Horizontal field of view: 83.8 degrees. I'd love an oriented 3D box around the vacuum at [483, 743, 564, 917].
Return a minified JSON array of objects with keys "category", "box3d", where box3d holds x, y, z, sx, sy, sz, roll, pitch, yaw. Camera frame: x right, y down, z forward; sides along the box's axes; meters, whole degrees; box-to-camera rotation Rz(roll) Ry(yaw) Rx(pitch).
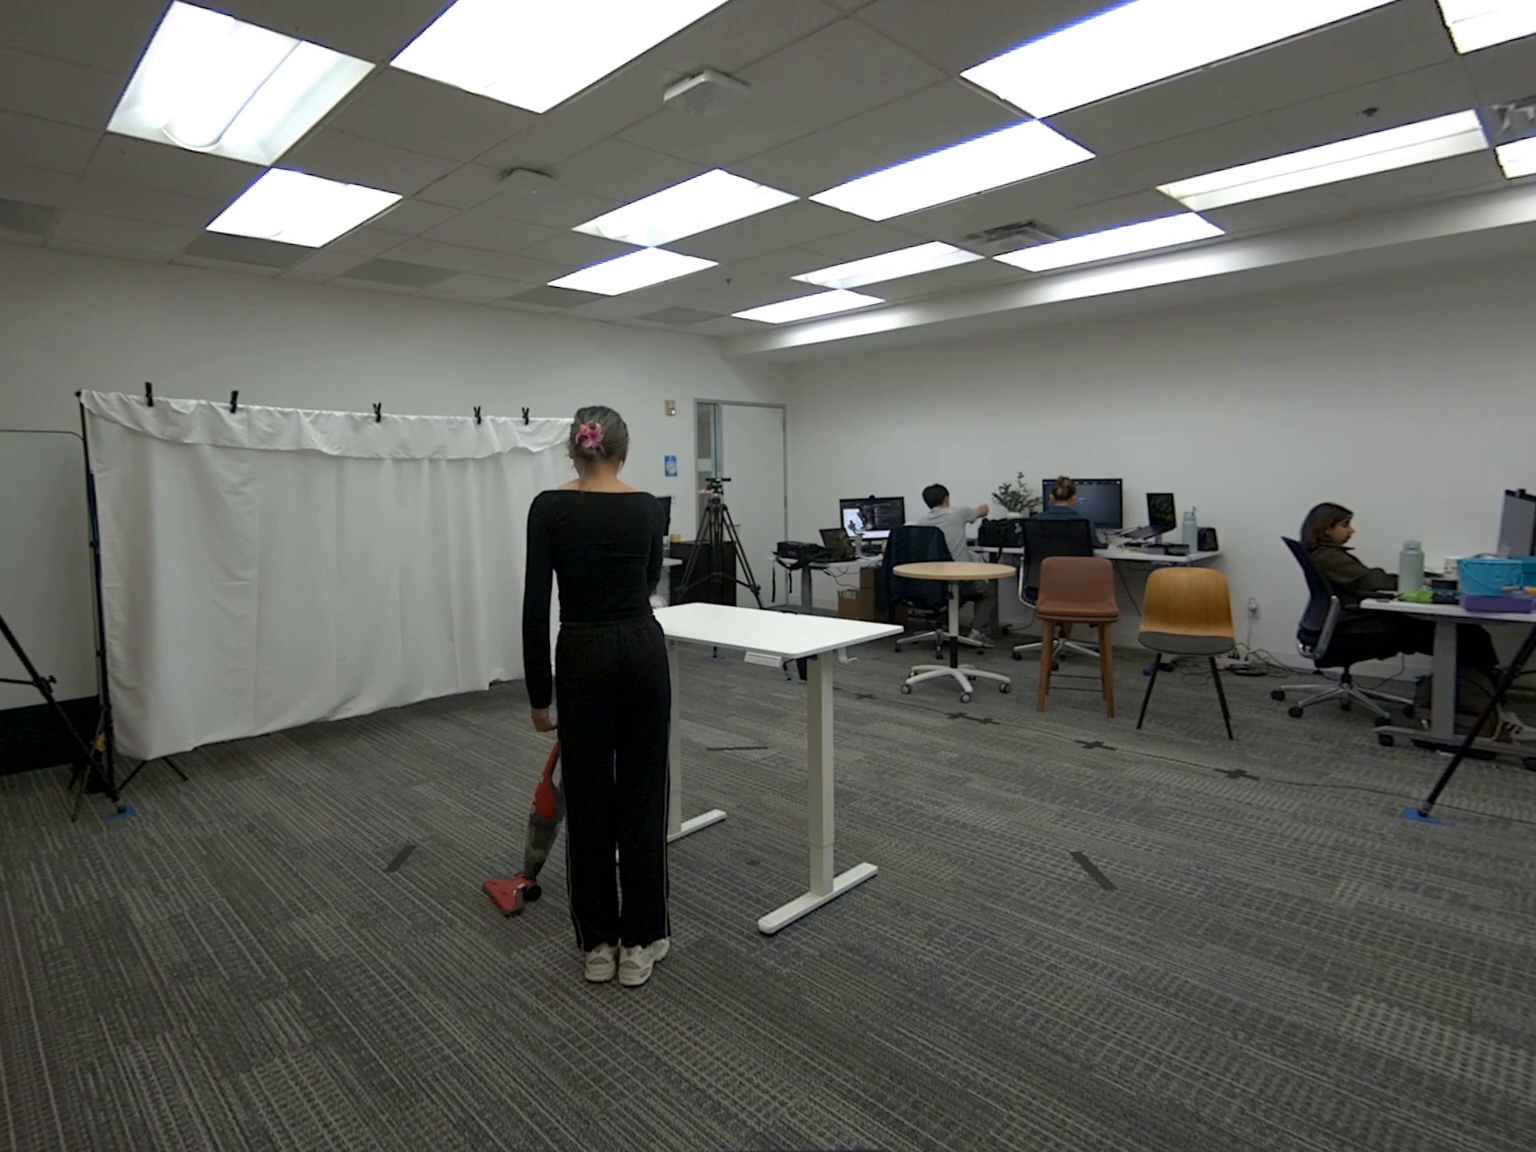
[{"category":"vacuum","box3d":[-0.690,0.593,2.985,0.139,1.056,0.260,27,-14,-34]}]
